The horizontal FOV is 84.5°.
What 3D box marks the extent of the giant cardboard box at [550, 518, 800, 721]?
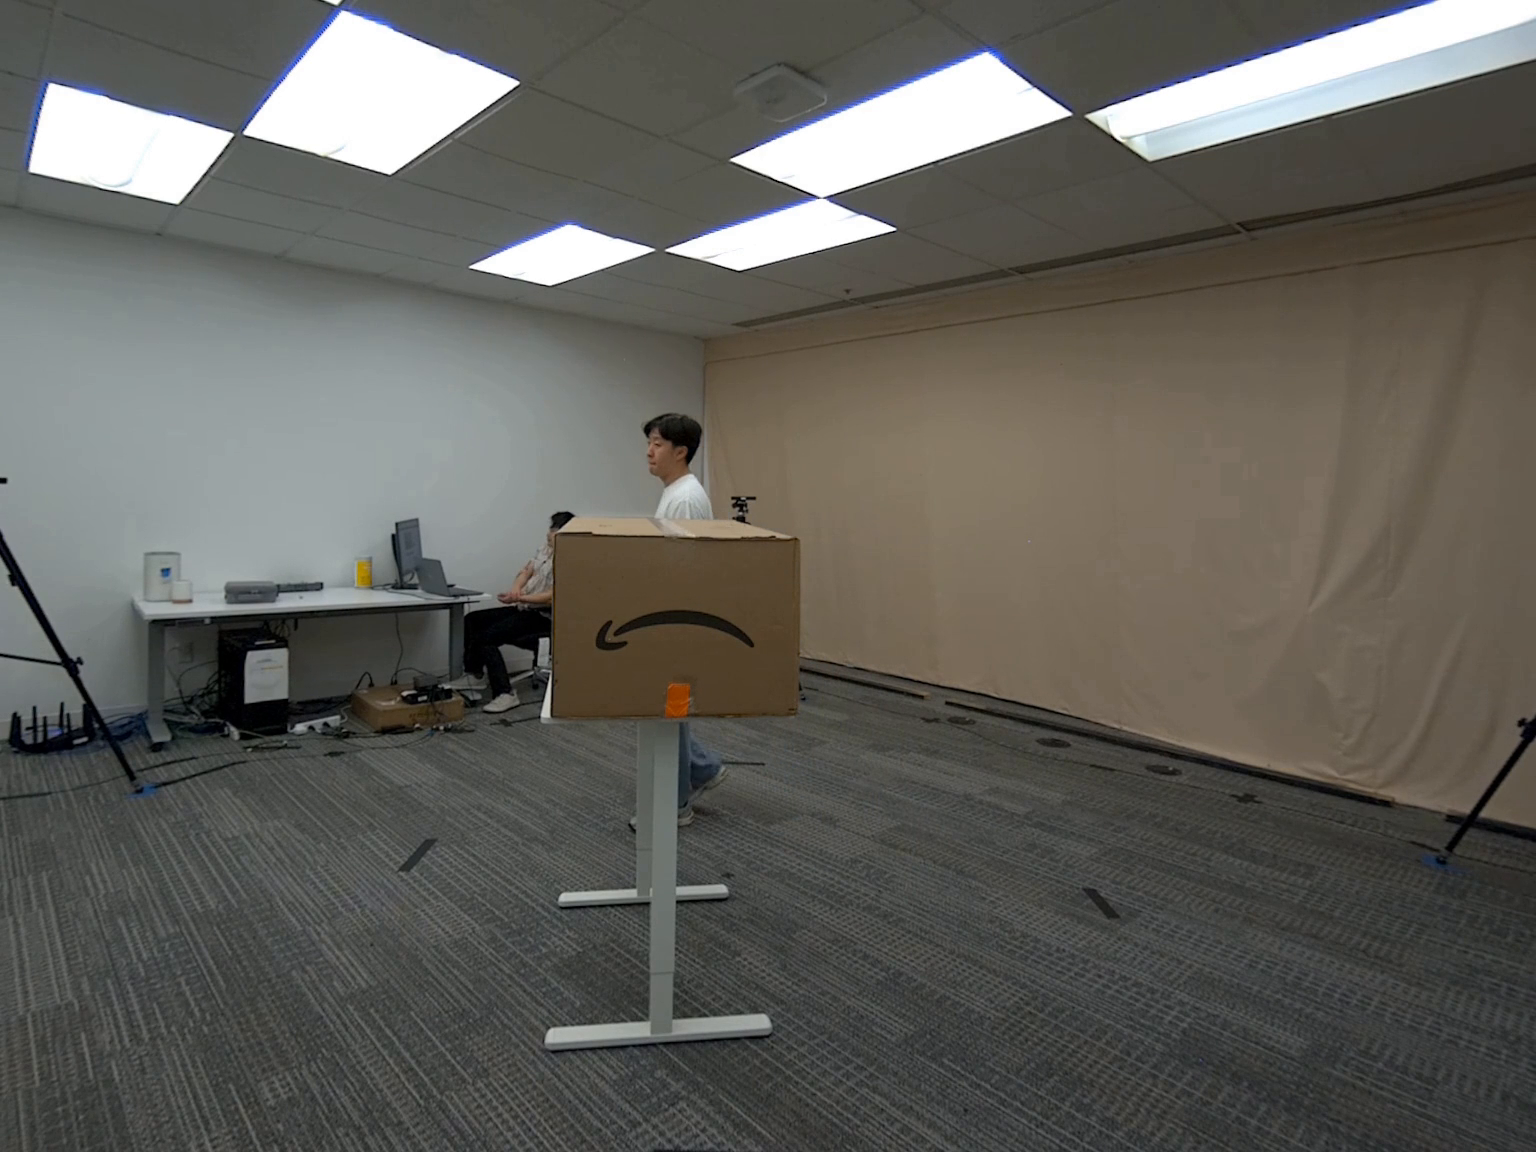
[{"bbox_3d":[-0.304,0.069,2.447,0.573,0.425,1.037,2,6,-10],"label":"giant cardboard box"}]
